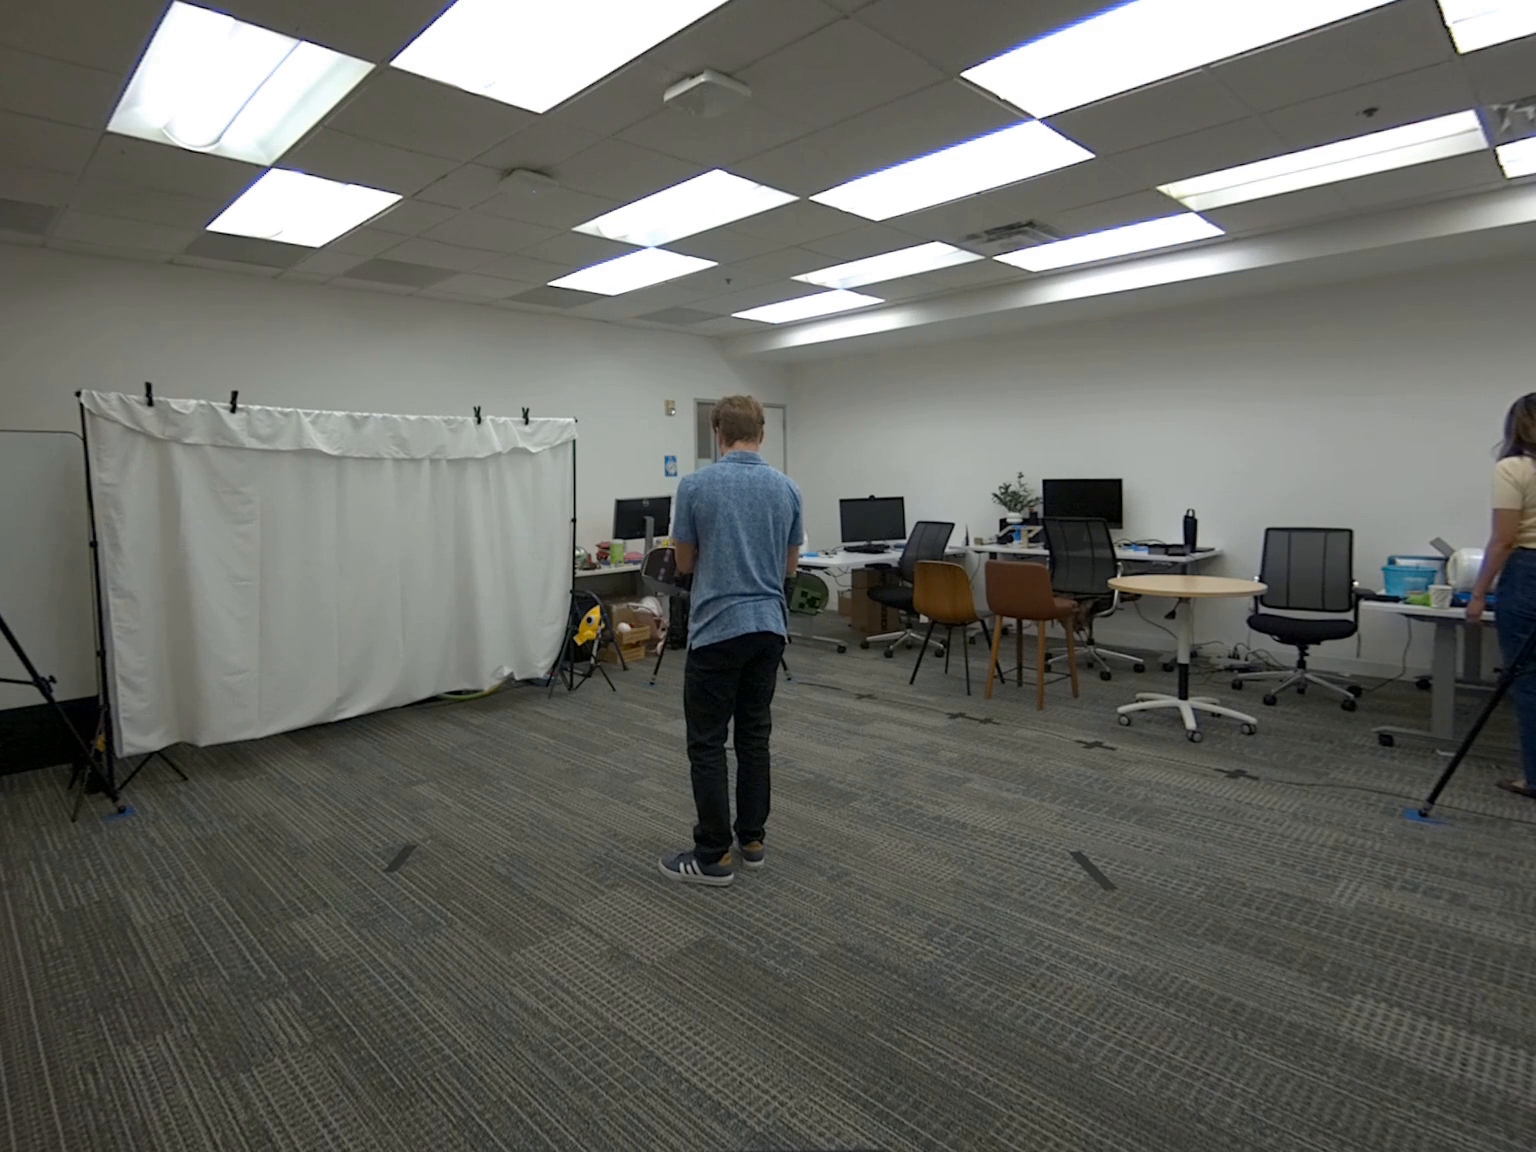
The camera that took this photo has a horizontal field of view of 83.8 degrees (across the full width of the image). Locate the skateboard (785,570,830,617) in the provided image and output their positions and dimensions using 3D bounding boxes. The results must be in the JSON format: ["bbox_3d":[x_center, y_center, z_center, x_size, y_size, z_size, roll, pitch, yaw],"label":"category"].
[{"bbox_3d":[-0.108,0.034,3.449,0.781,0.193,0.111,10,2,-5],"label":"skateboard"}]
